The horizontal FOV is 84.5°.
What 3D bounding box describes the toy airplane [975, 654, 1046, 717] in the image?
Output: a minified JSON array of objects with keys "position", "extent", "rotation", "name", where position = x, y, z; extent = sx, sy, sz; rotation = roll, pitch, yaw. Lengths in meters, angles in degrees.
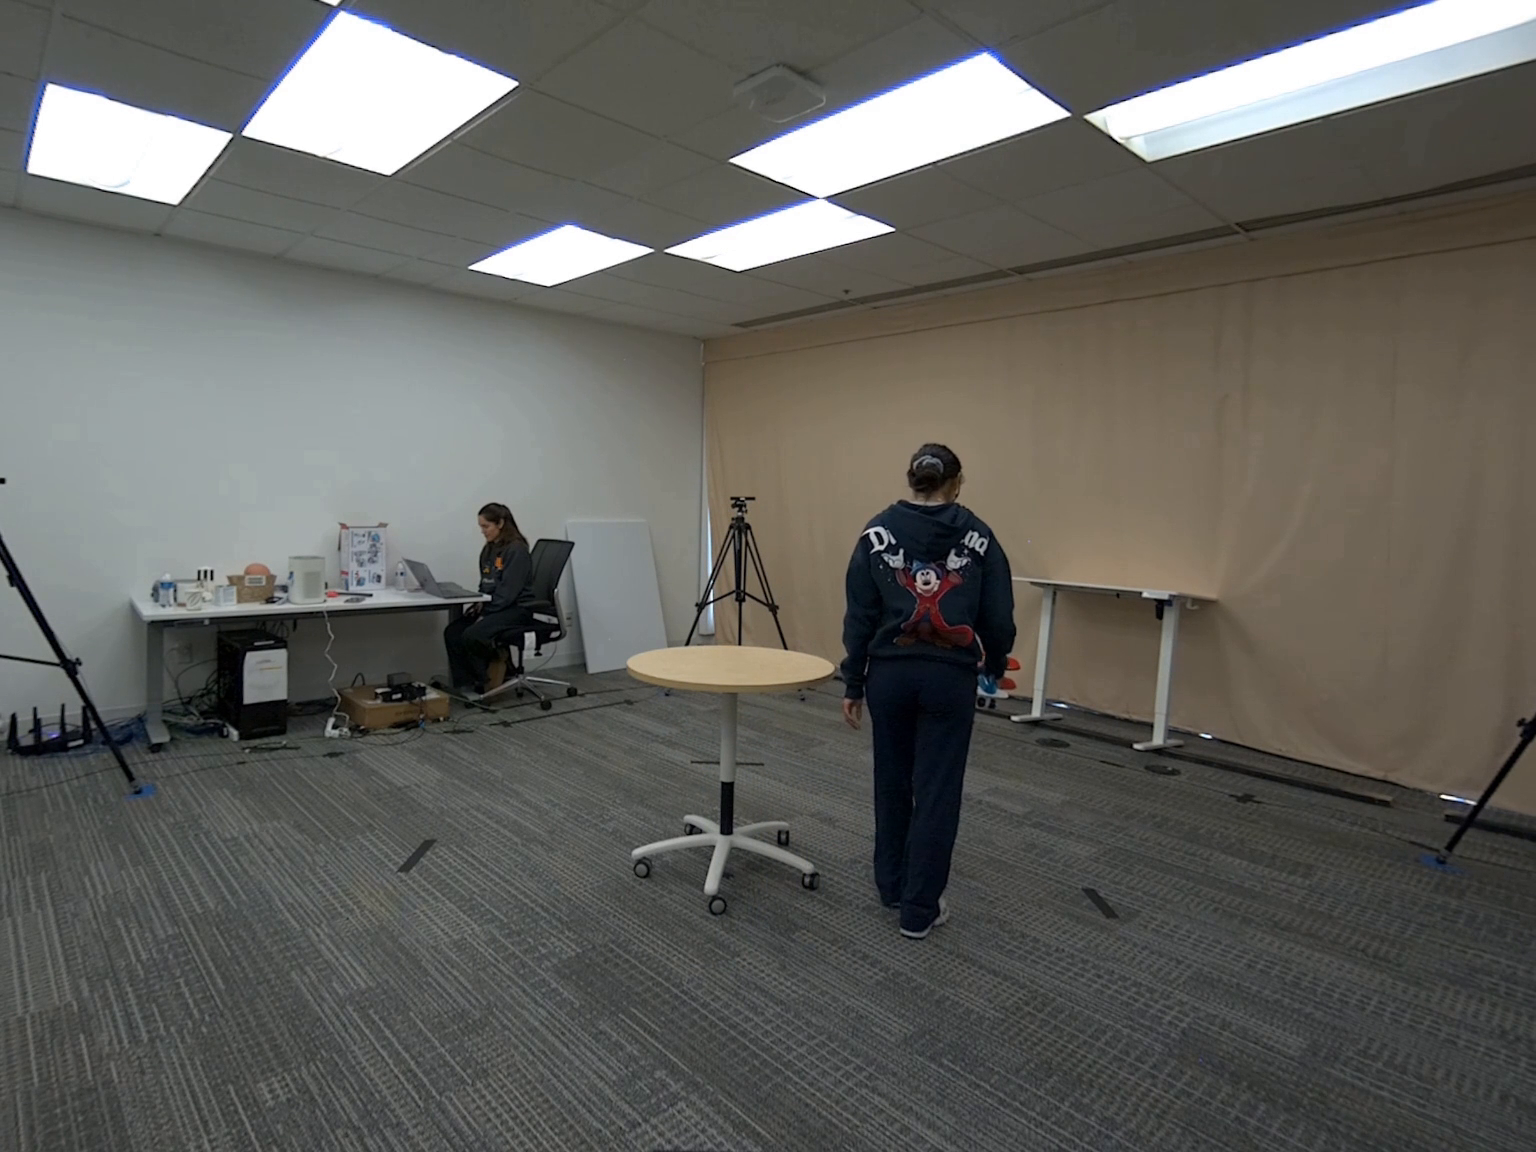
[{"position":[0.759,0.365,2.938],"extent":[0.247,0.155,0.265],"rotation":[3,11,-19],"name":"toy airplane"}]
